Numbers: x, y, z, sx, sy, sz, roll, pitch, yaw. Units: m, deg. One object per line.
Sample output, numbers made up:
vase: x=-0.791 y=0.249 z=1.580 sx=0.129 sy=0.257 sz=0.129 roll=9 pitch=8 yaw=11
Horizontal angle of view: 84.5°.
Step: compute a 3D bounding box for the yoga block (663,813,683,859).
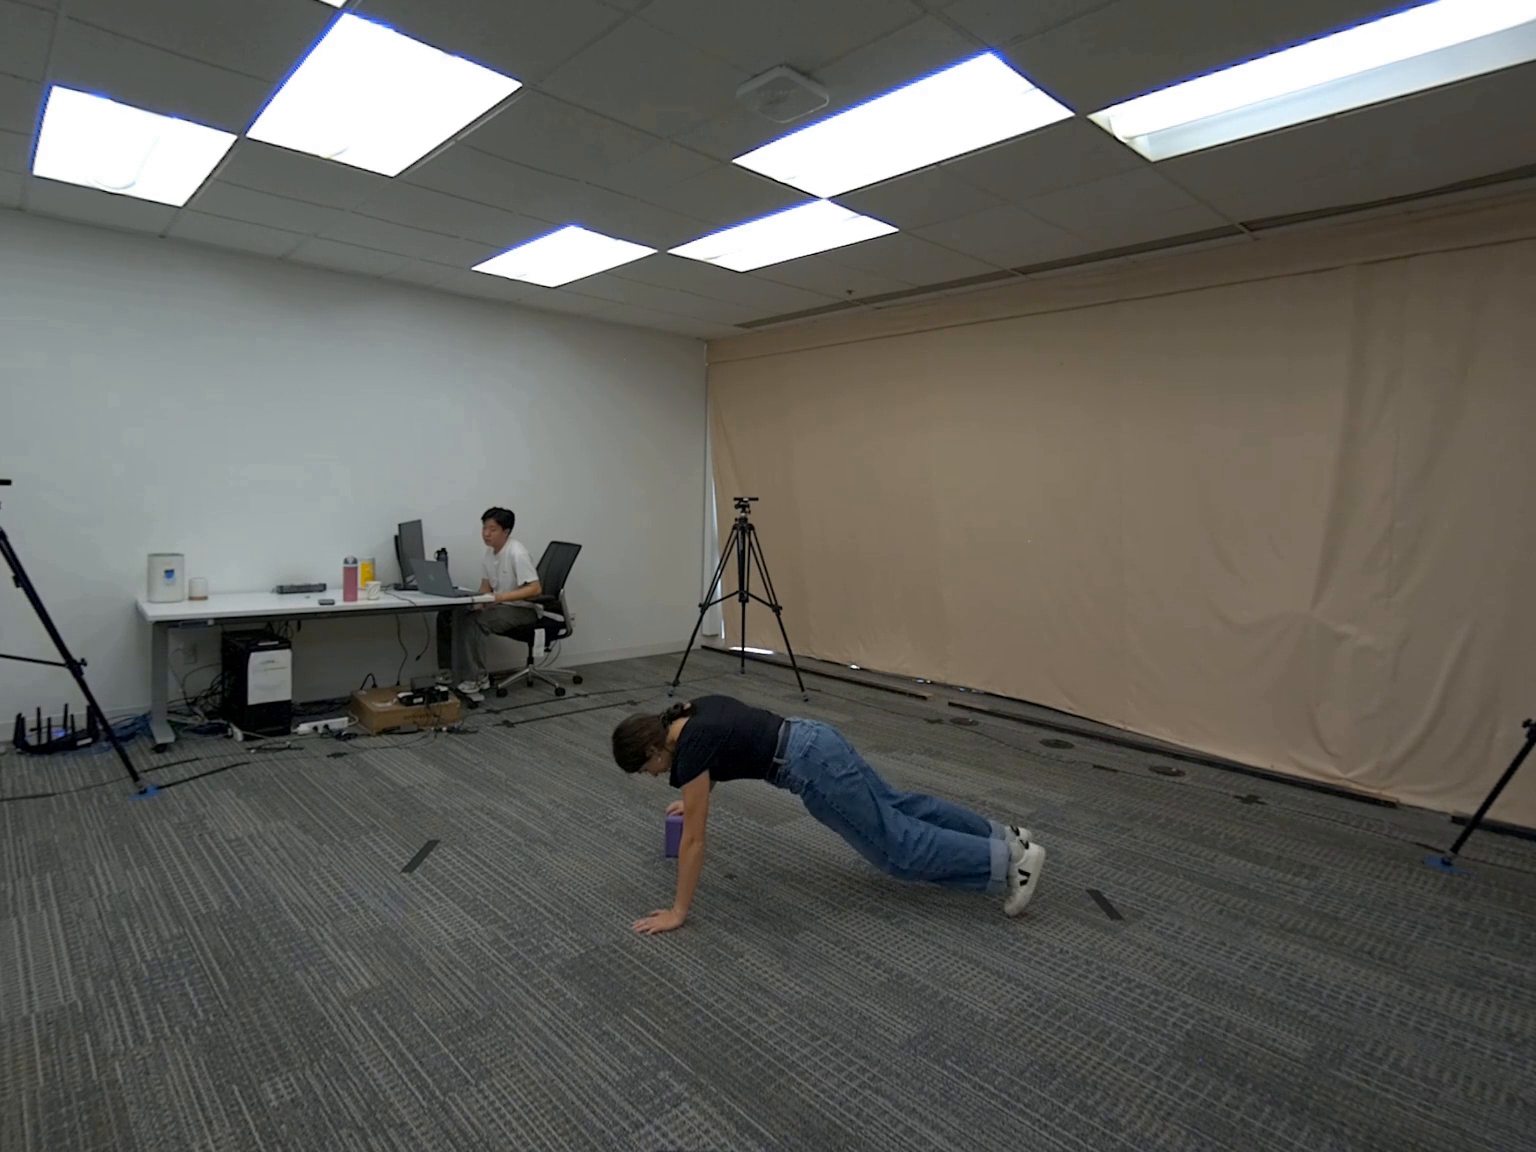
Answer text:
yoga block: x=-0.354 y=1.012 z=3.356 sx=0.077 sy=0.148 sz=0.229 roll=2 pitch=8 yaw=6
